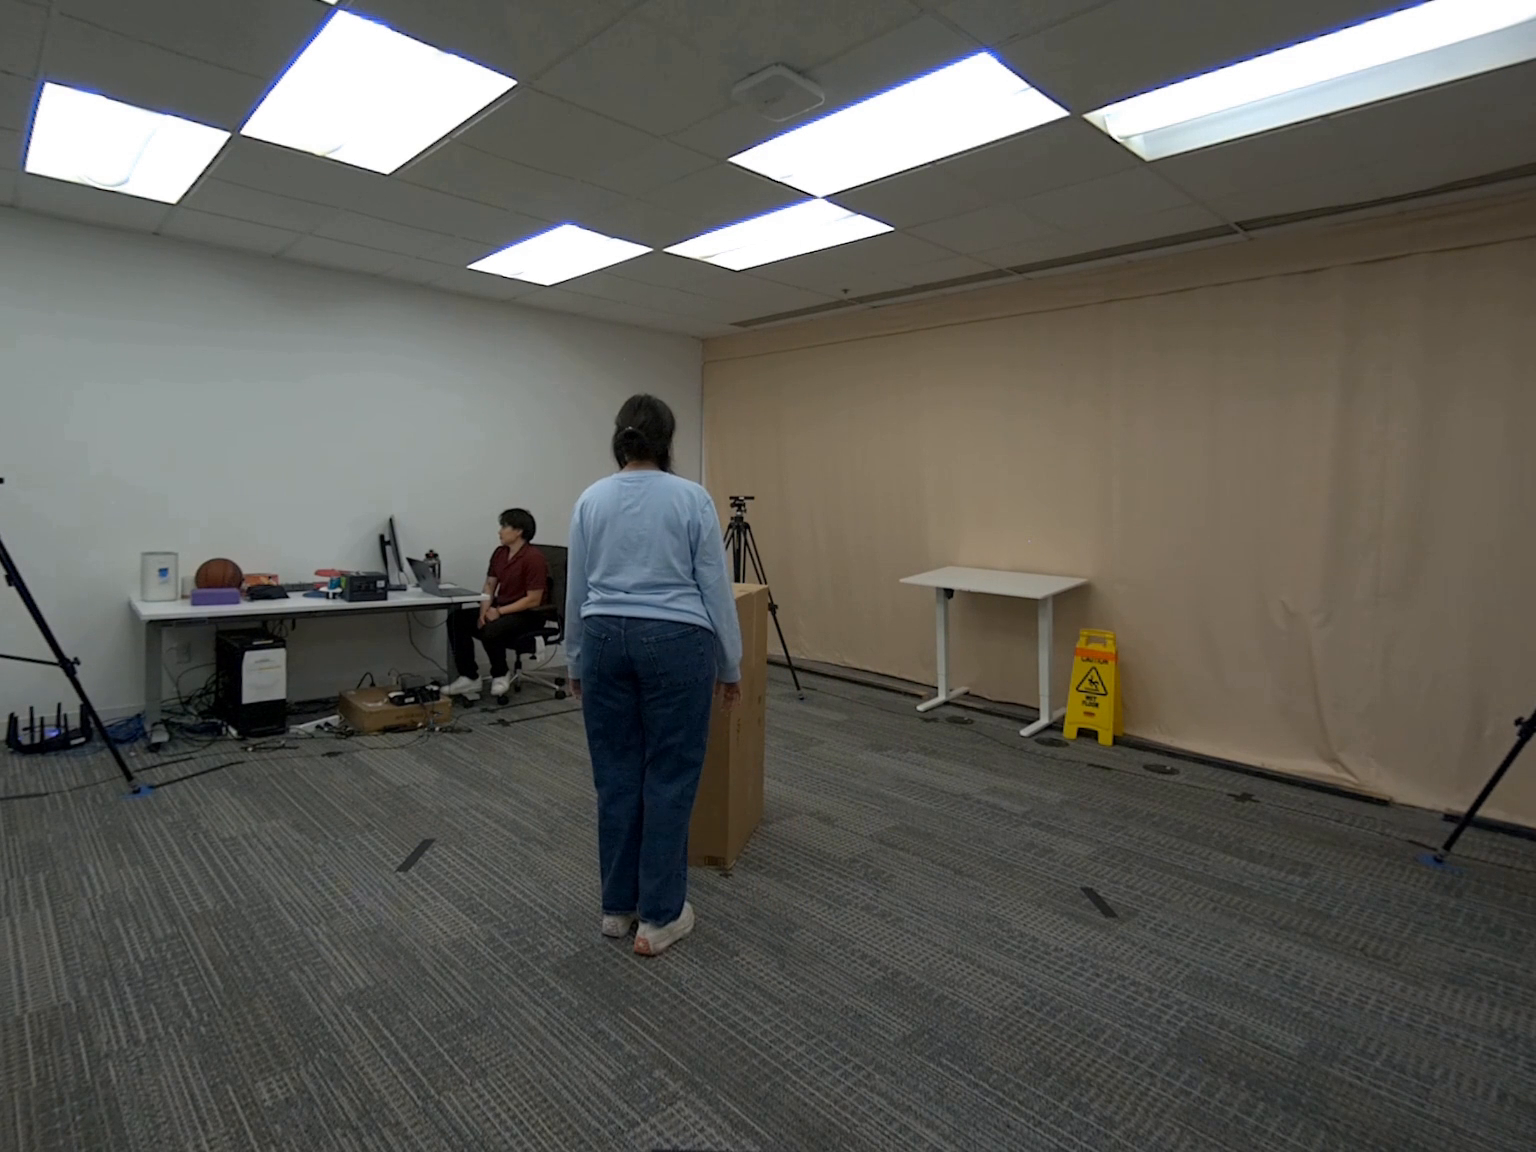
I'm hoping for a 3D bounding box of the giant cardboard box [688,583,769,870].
[{"bbox_3d":[-0.280,0.564,3.442,0.431,1.023,0.572,2,3,14],"label":"giant cardboard box"}]
